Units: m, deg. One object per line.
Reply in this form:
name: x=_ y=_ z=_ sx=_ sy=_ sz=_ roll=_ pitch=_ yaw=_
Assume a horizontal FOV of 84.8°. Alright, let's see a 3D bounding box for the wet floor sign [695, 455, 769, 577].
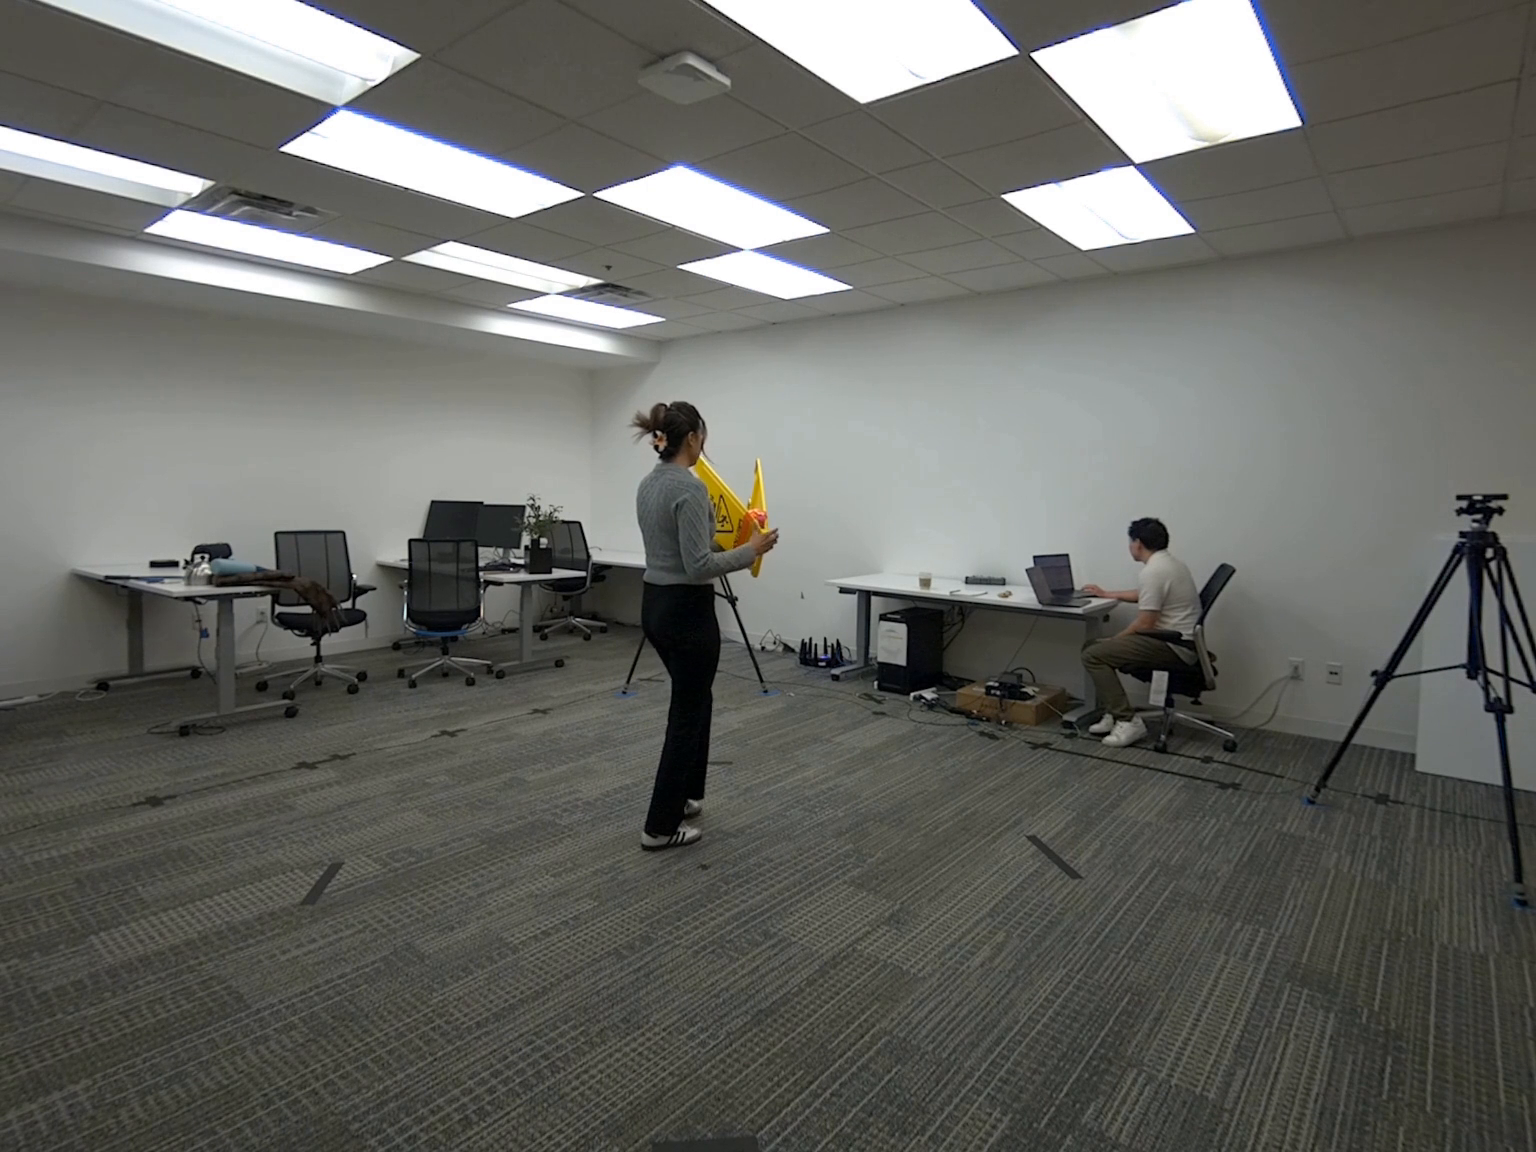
wet floor sign: x=-0.122 y=-0.247 z=3.572 sx=0.284 sy=0.277 sz=0.670 roll=1 pitch=32 yaw=-19
